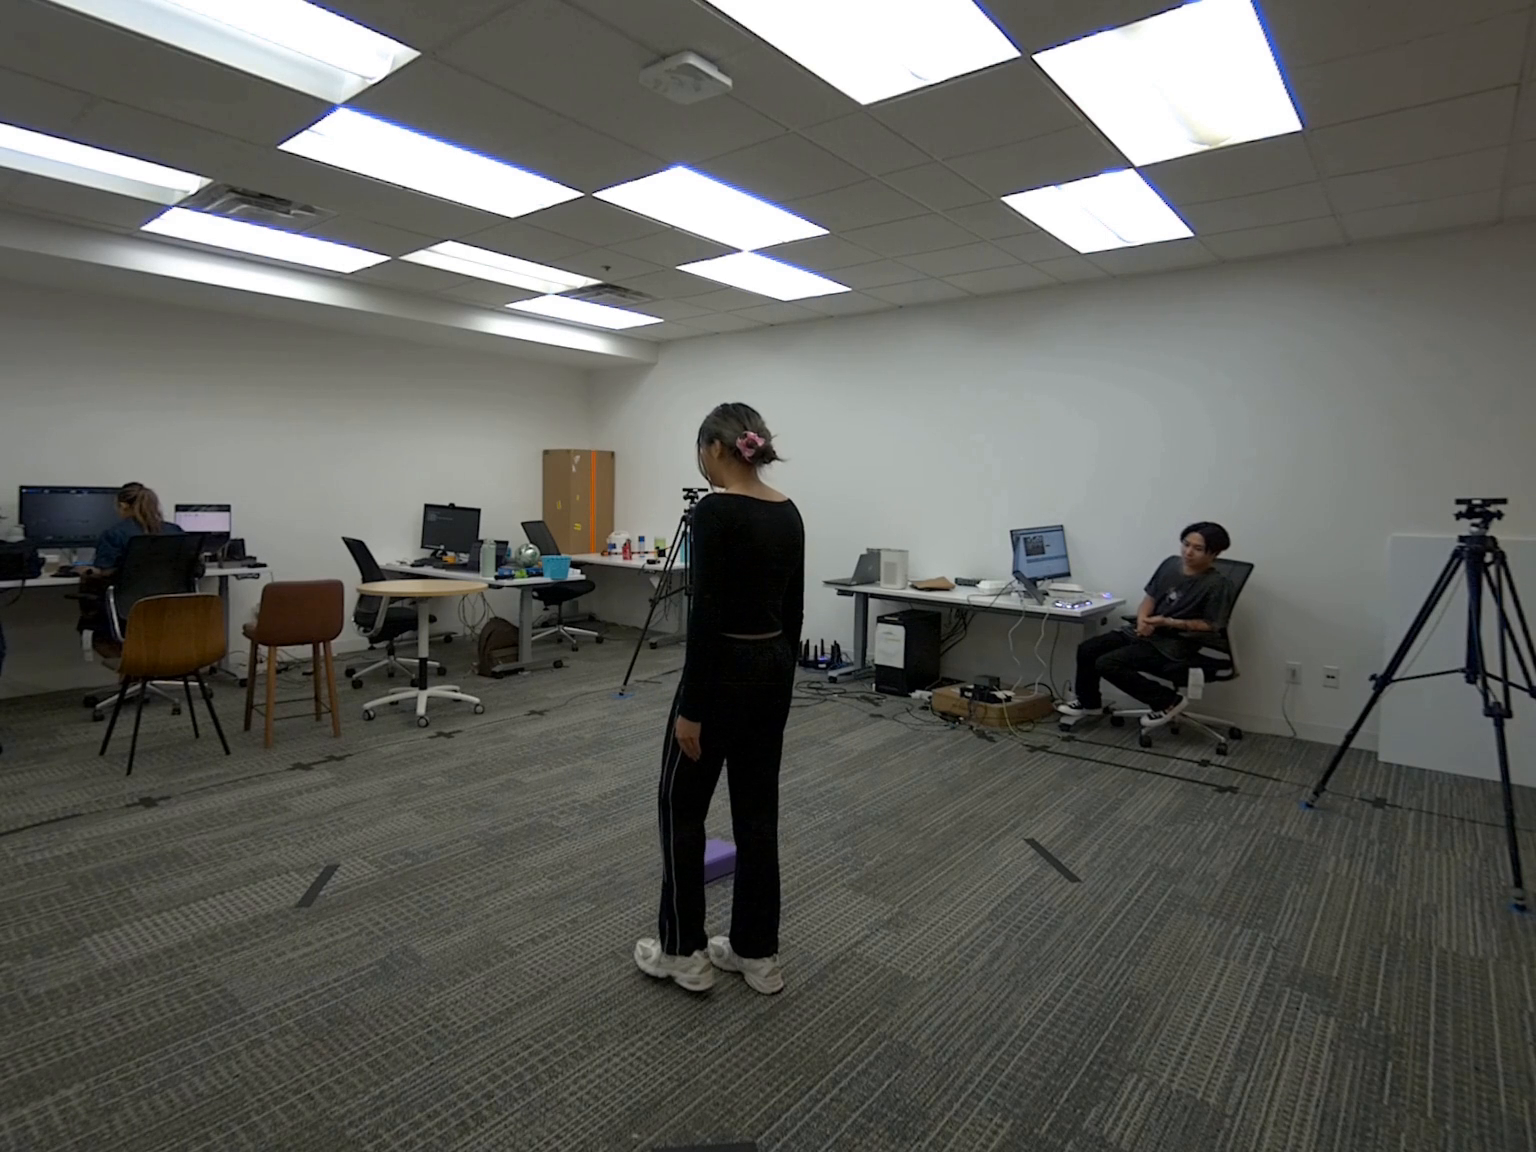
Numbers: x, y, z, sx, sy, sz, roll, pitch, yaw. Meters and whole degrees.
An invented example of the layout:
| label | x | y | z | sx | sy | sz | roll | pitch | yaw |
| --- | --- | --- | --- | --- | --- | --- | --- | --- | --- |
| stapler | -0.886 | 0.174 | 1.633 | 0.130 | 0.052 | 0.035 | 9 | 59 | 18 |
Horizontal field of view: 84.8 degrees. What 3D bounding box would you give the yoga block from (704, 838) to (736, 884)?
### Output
| label | x | y | z | sx | sy | sz | roll | pitch | yaw |
| --- | --- | --- | --- | --- | --- | --- | --- | --- | --- |
| yoga block | -0.230 | 1.030 | 3.091 | 0.222 | 0.076 | 0.154 | -4 | 5 | -44 |
